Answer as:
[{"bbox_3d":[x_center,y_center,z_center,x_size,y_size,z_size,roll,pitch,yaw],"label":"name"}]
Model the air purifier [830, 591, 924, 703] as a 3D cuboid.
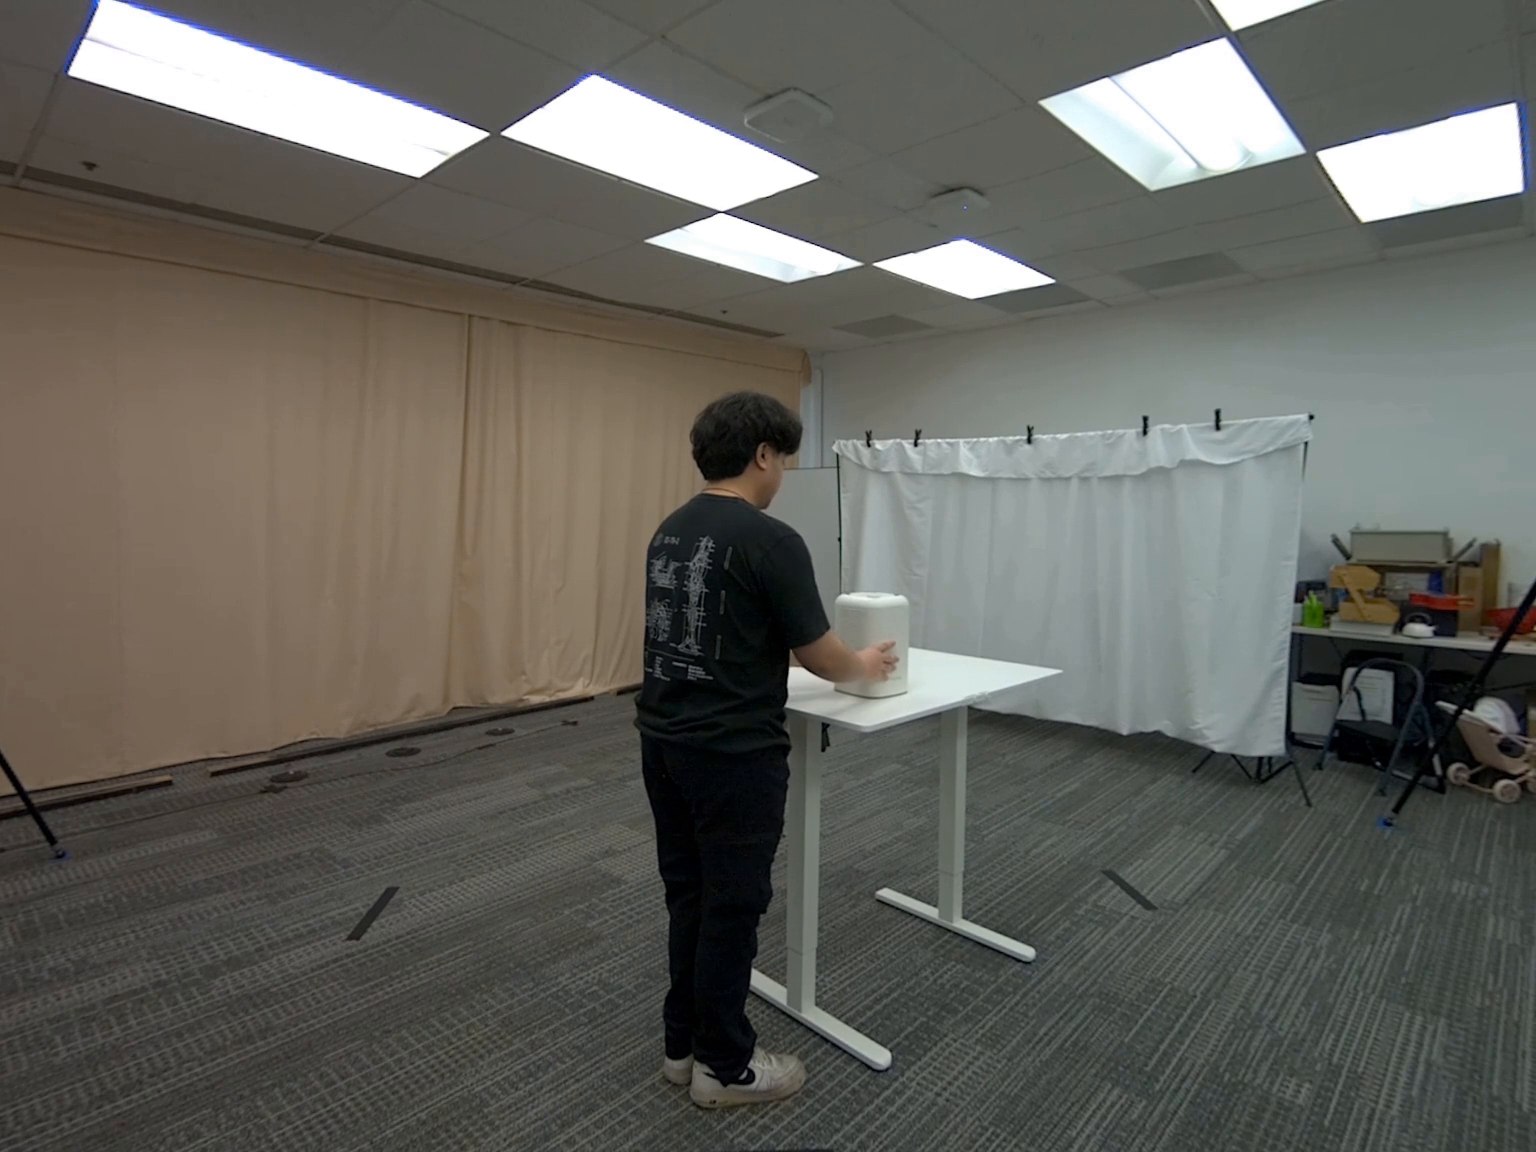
[{"bbox_3d":[0.293,0.183,2.291,0.166,0.265,0.177,-1,3,-41],"label":"air purifier"}]
